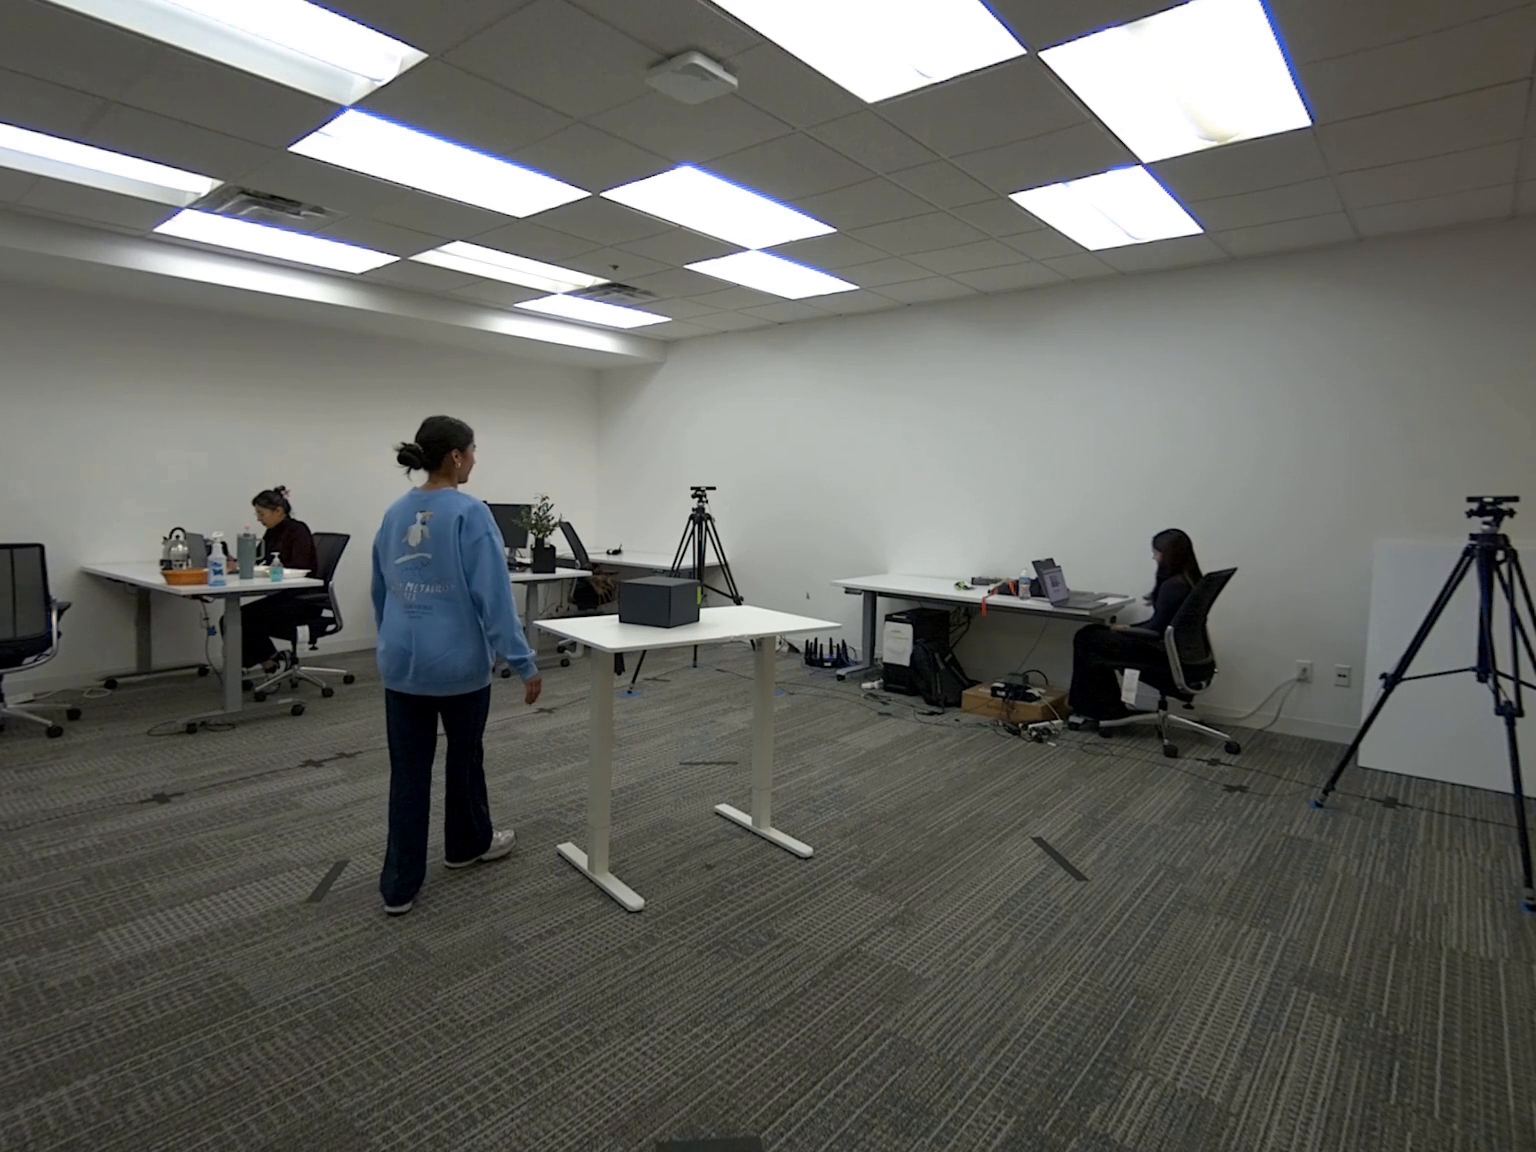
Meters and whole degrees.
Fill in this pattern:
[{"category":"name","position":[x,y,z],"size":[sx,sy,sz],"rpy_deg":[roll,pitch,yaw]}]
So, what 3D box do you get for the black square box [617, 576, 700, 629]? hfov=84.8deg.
[{"category":"black square box","position":[-0.411,0.094,3.181],"size":[0.234,0.155,0.212],"rpy_deg":[4,6,28]}]
